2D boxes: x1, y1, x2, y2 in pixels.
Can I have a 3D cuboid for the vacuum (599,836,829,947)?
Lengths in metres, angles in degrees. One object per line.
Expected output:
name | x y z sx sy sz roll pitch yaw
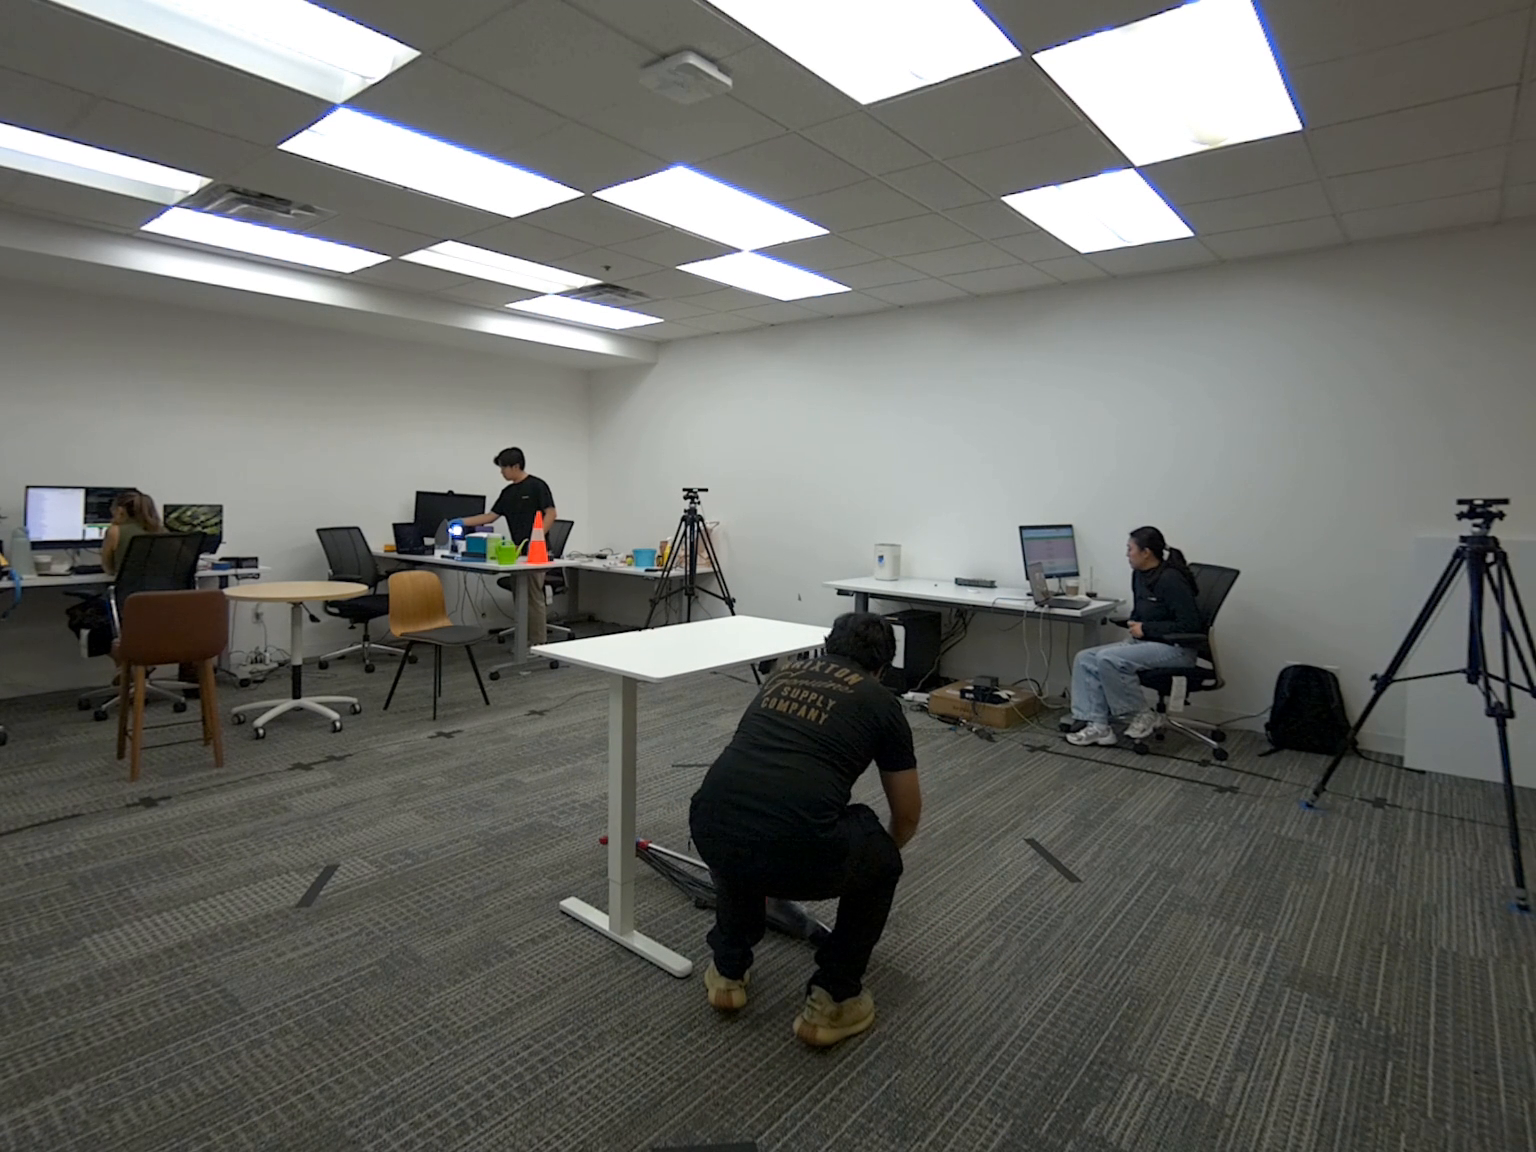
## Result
vacuum | -0.196 1.035 2.863 1.083 0.144 0.245 4 2 36
